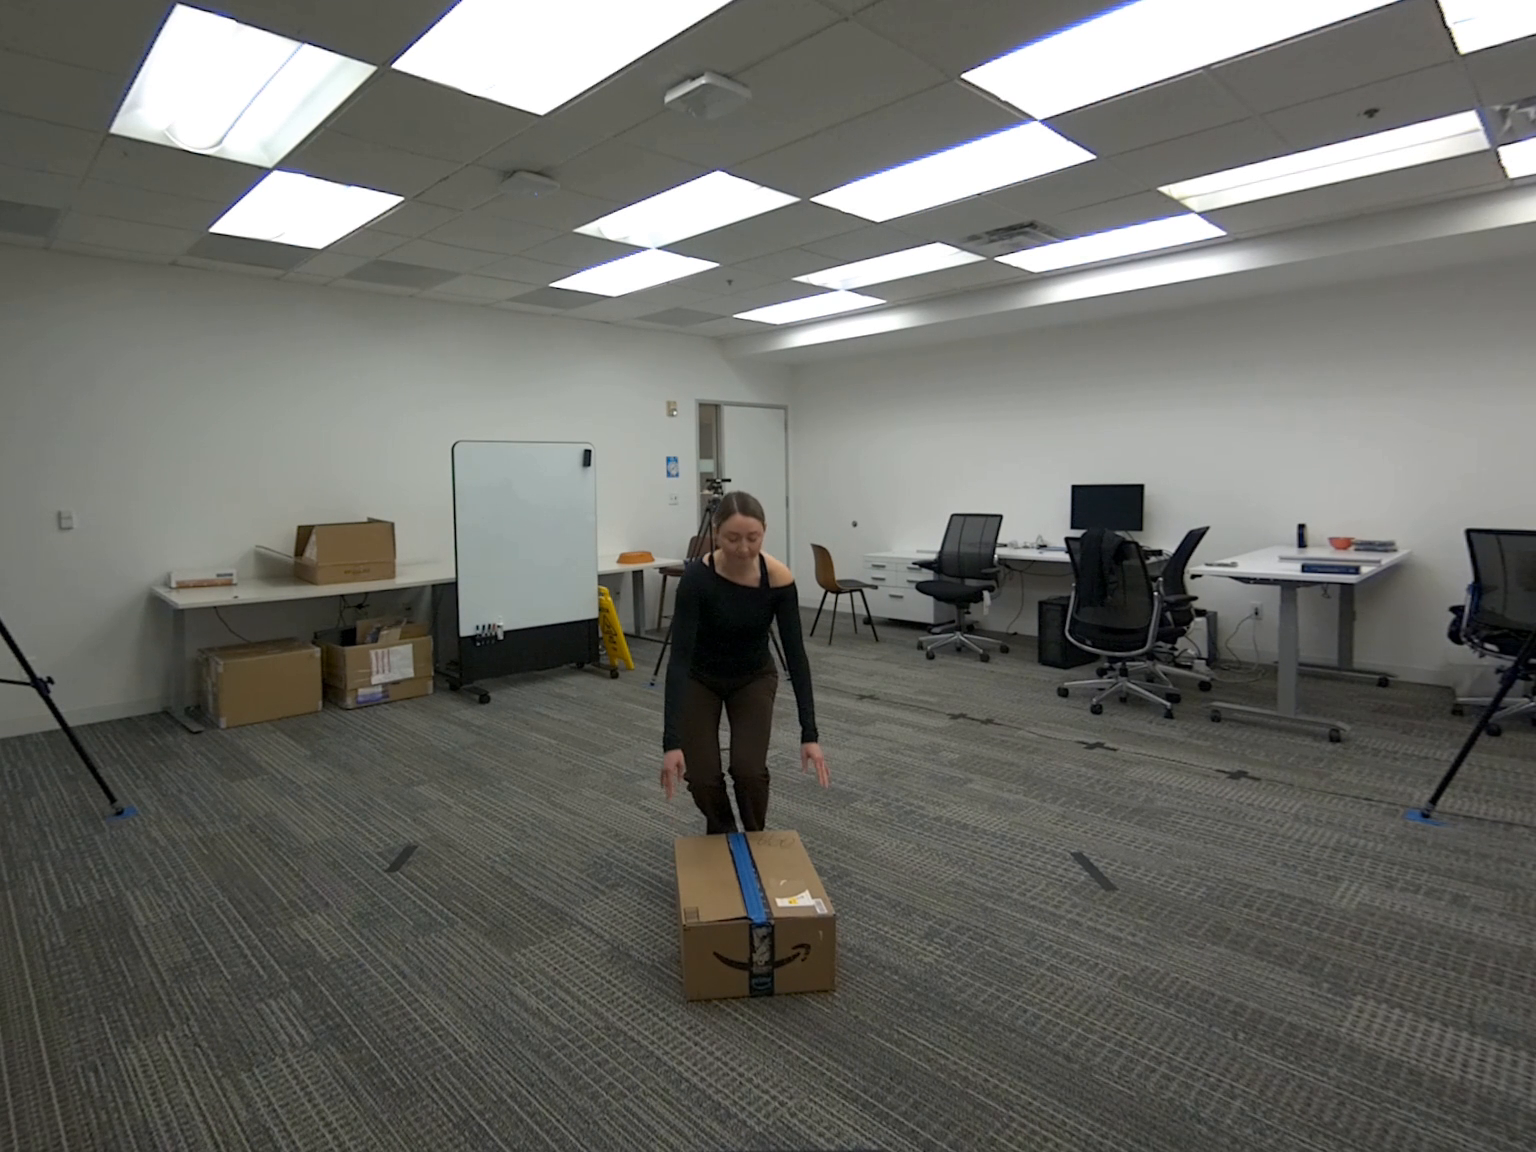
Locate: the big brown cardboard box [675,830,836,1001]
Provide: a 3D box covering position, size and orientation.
[{"bbox_3d":[-0.060,0.996,2.568,0.415,0.232,0.595,-2,6,-8],"label":"big brown cardboard box"}]
